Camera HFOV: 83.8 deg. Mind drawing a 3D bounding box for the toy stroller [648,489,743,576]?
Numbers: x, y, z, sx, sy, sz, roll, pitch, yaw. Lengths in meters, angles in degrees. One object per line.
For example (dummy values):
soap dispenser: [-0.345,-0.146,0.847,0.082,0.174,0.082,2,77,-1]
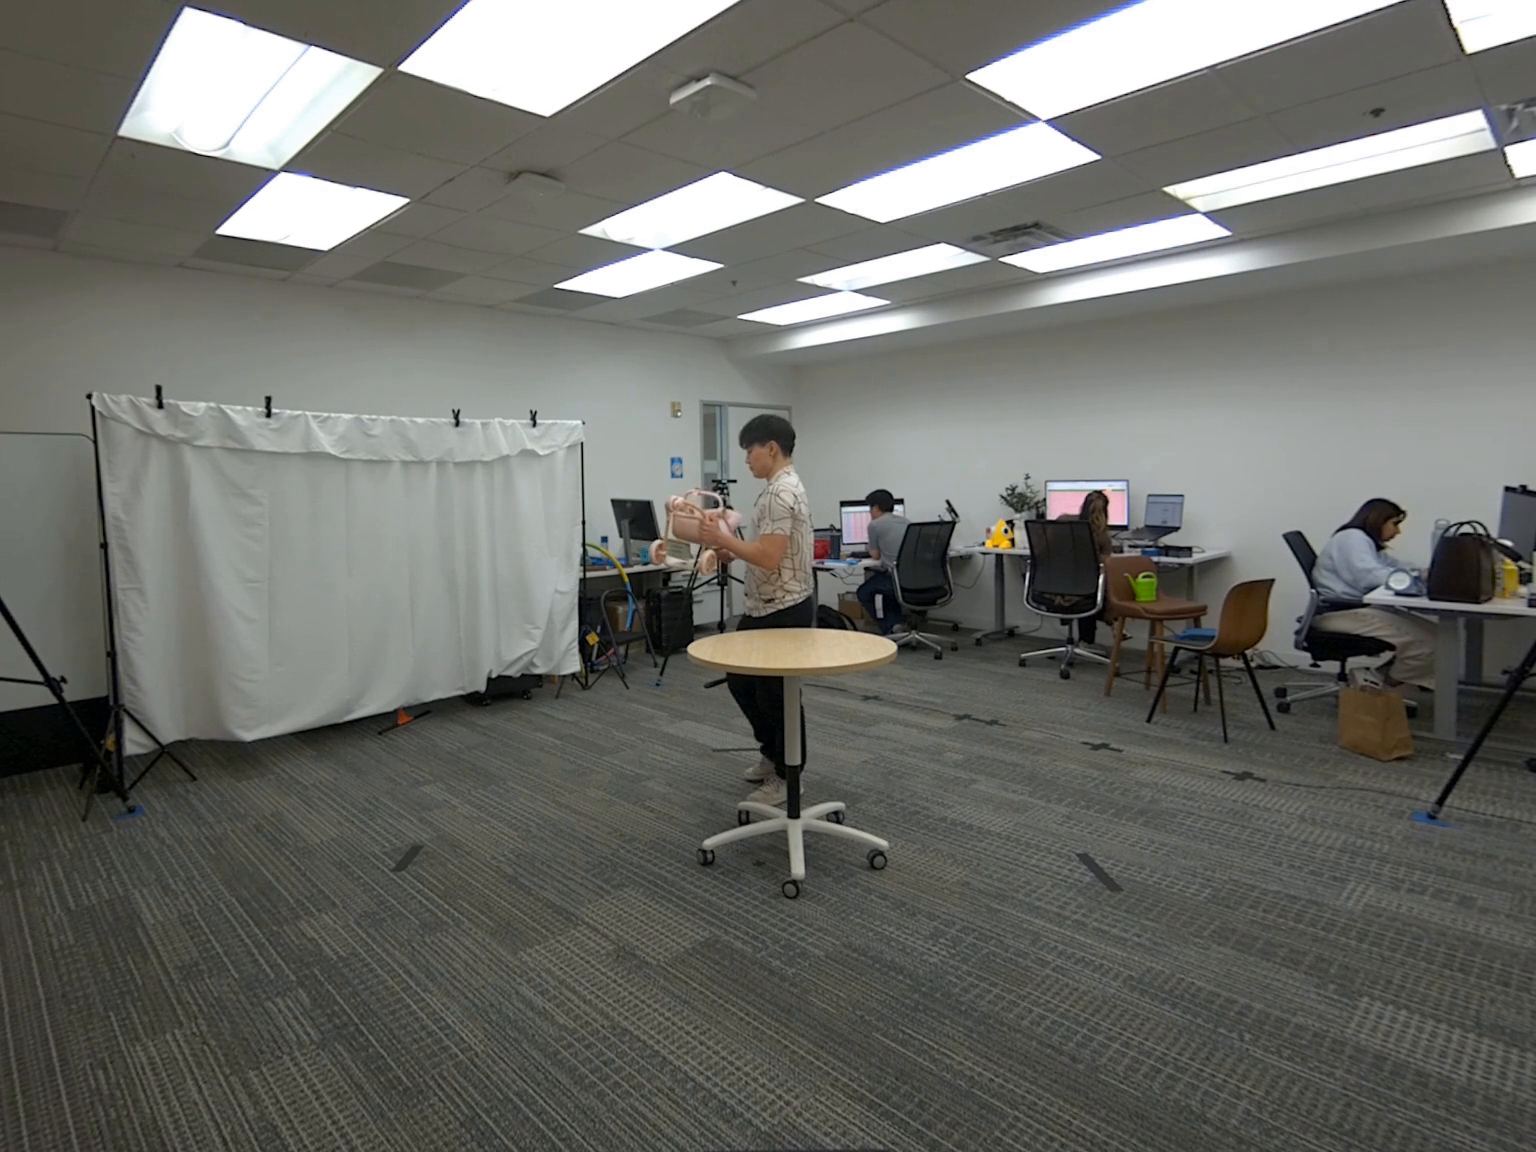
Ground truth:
toy stroller: [-0.284,-0.207,3.664,0.289,0.338,0.525,6,12,29]
